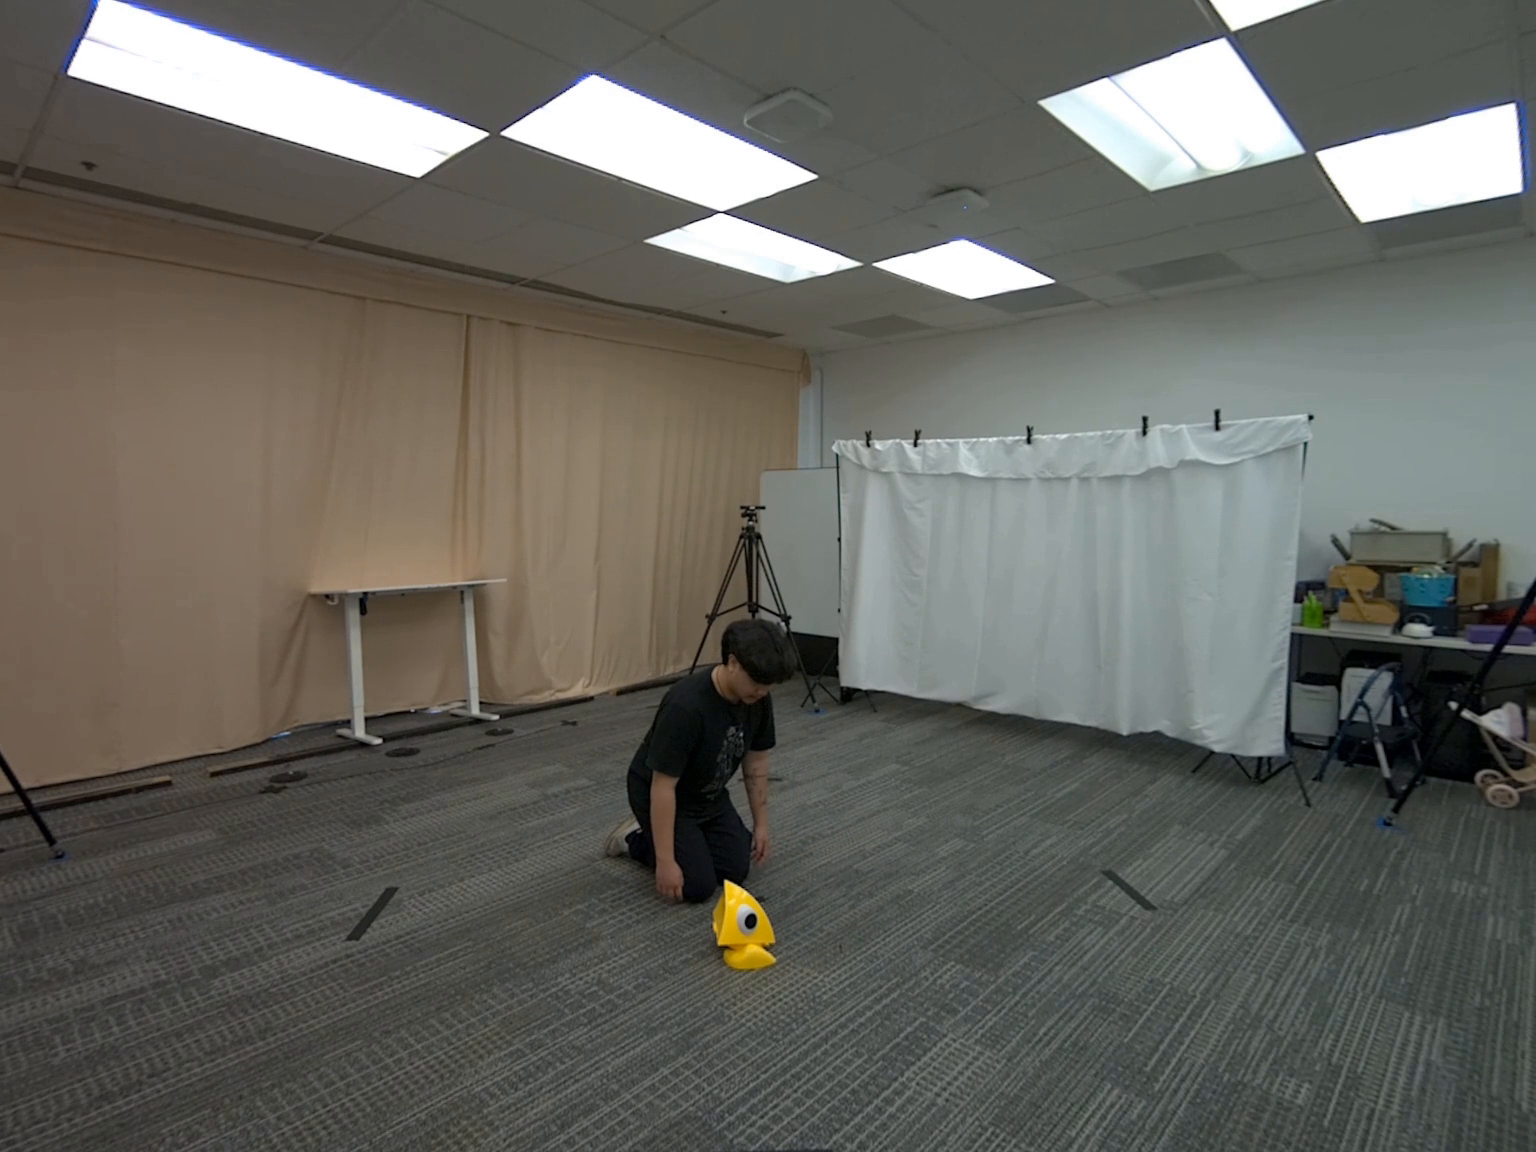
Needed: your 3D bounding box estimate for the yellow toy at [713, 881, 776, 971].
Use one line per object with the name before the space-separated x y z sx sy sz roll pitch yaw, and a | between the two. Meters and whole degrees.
yellow toy | -0.074 1.059 2.622 0.192 0.230 0.206 0 4 -6
